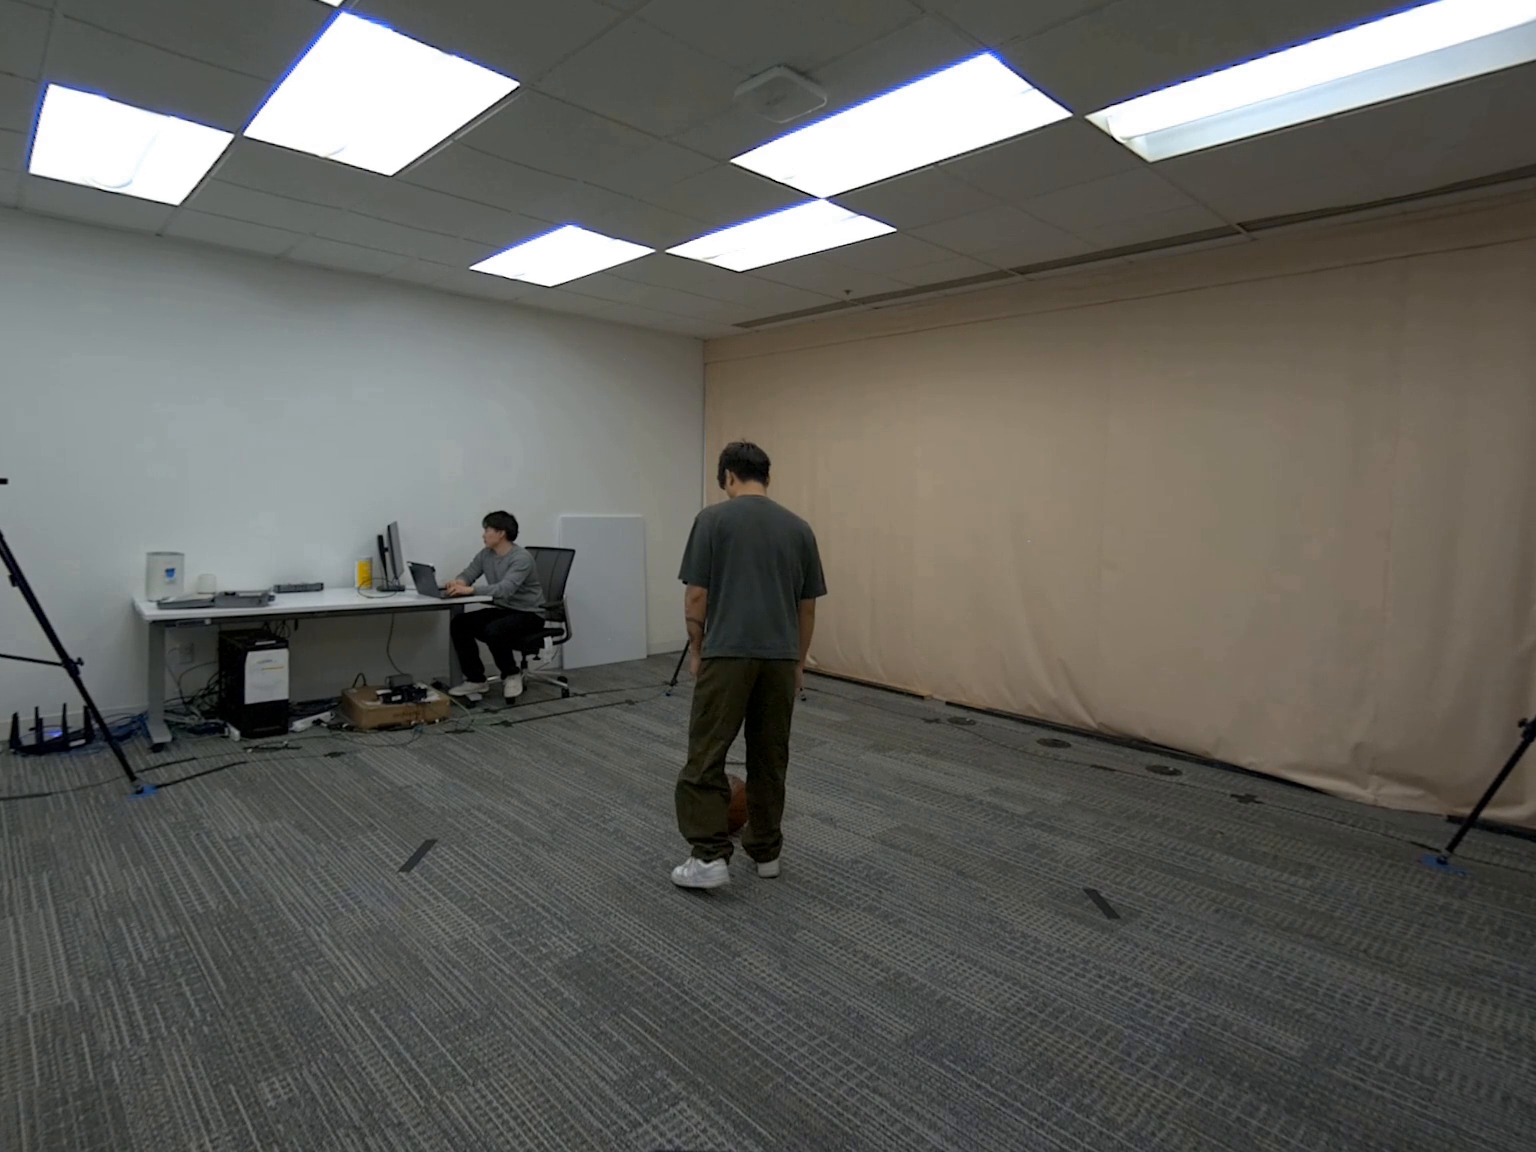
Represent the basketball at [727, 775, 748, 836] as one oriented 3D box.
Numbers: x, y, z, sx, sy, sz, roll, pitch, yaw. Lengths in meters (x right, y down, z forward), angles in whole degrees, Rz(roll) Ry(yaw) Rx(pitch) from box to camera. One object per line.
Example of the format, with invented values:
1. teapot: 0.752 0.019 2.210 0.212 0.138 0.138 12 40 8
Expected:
1. basketball: -0.196 0.948 3.521 0.236 0.235 0.237 1 4 -1
